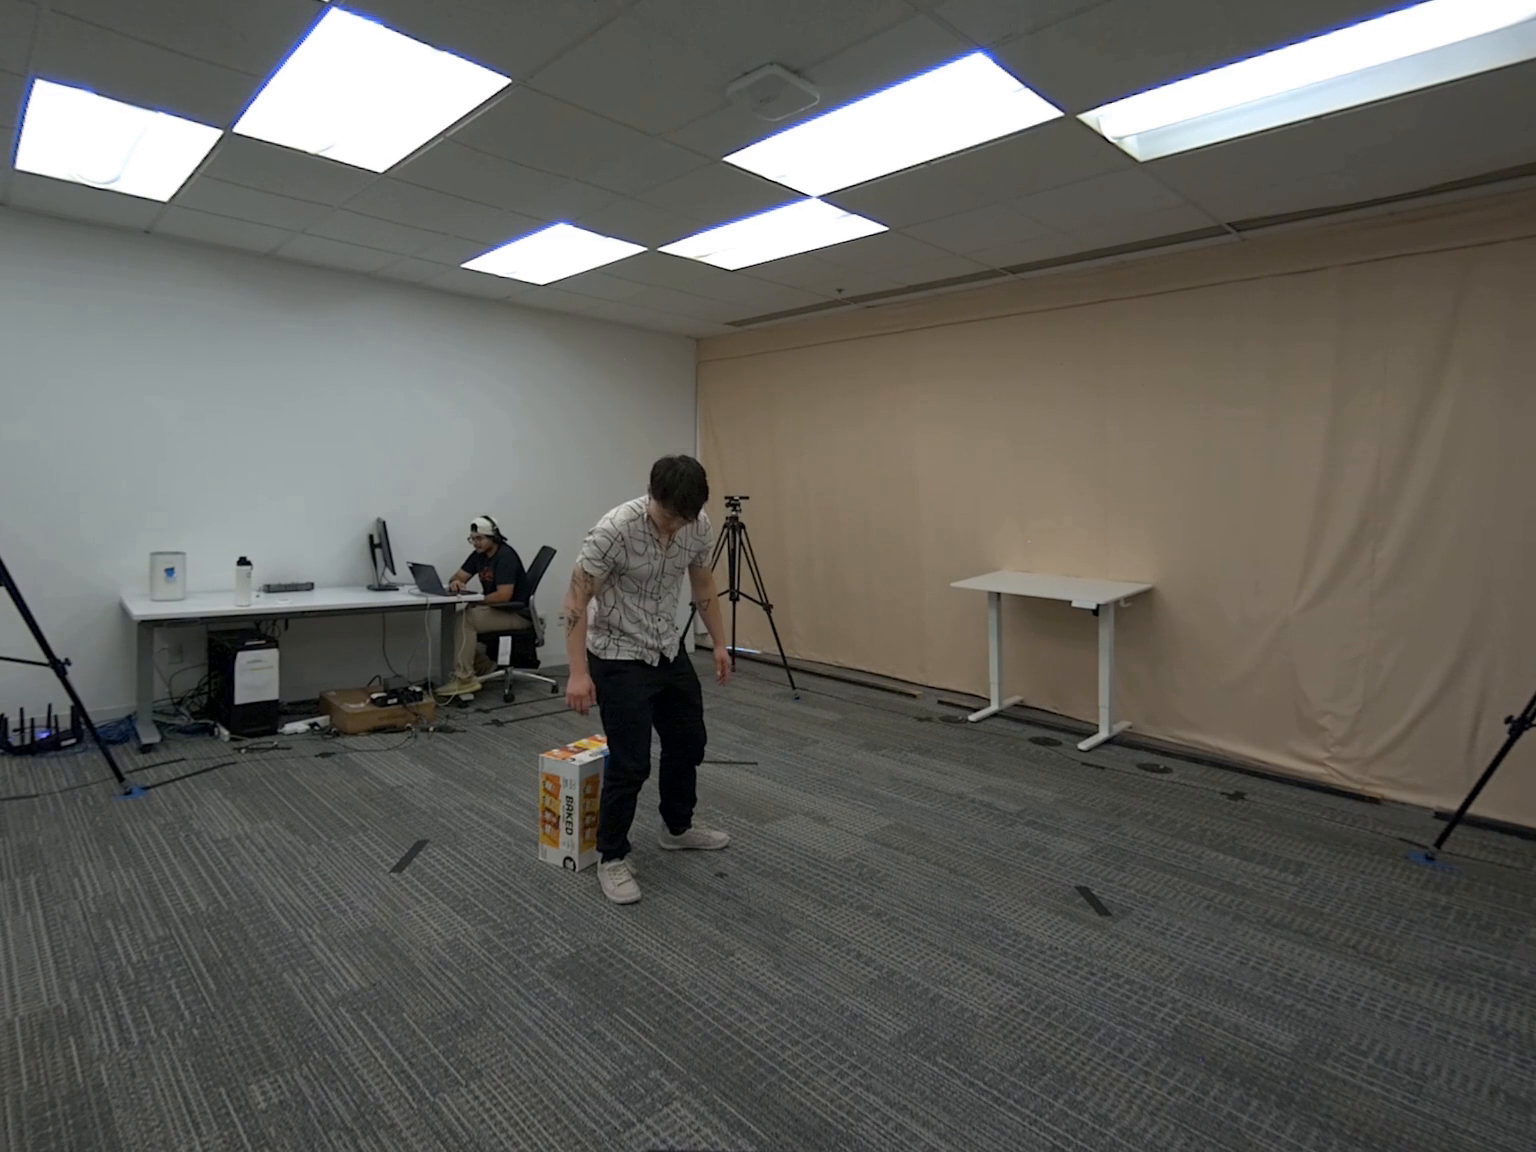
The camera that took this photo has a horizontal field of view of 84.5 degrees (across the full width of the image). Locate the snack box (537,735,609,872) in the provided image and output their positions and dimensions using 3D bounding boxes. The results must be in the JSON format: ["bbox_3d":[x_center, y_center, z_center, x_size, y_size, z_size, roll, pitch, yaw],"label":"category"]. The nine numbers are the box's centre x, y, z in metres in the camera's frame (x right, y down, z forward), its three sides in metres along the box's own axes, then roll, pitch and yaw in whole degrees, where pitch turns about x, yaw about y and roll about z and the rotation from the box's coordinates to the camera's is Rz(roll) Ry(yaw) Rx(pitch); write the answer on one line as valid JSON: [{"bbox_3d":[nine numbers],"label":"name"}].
[{"bbox_3d":[-0.704,0.870,3.276,0.210,0.404,0.334,4,5,30],"label":"snack box"}]
